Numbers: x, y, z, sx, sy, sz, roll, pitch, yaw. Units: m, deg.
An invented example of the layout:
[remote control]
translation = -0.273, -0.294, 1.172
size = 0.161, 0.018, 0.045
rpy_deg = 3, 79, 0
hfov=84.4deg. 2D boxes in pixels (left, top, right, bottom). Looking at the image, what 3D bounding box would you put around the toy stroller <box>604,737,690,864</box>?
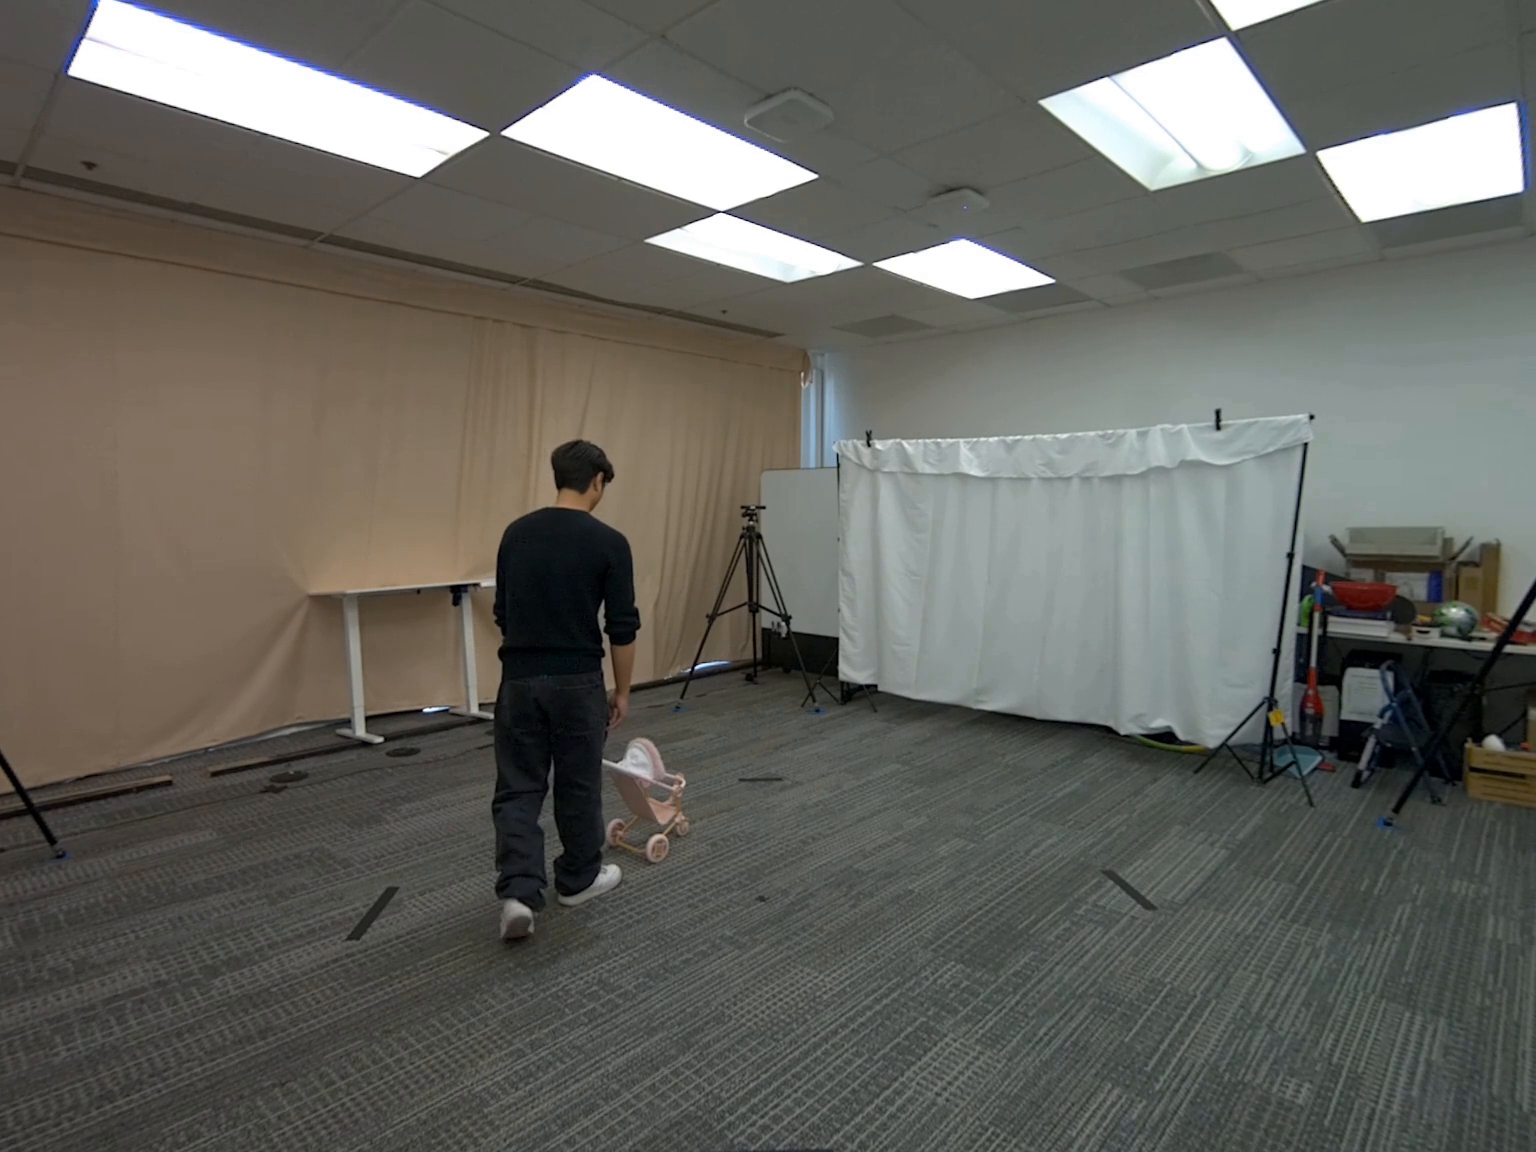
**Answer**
[toy stroller]
translation = -0.491, 0.891, 3.412
size = 0.291, 0.528, 0.334
rpy_deg = 3, 22, 46
